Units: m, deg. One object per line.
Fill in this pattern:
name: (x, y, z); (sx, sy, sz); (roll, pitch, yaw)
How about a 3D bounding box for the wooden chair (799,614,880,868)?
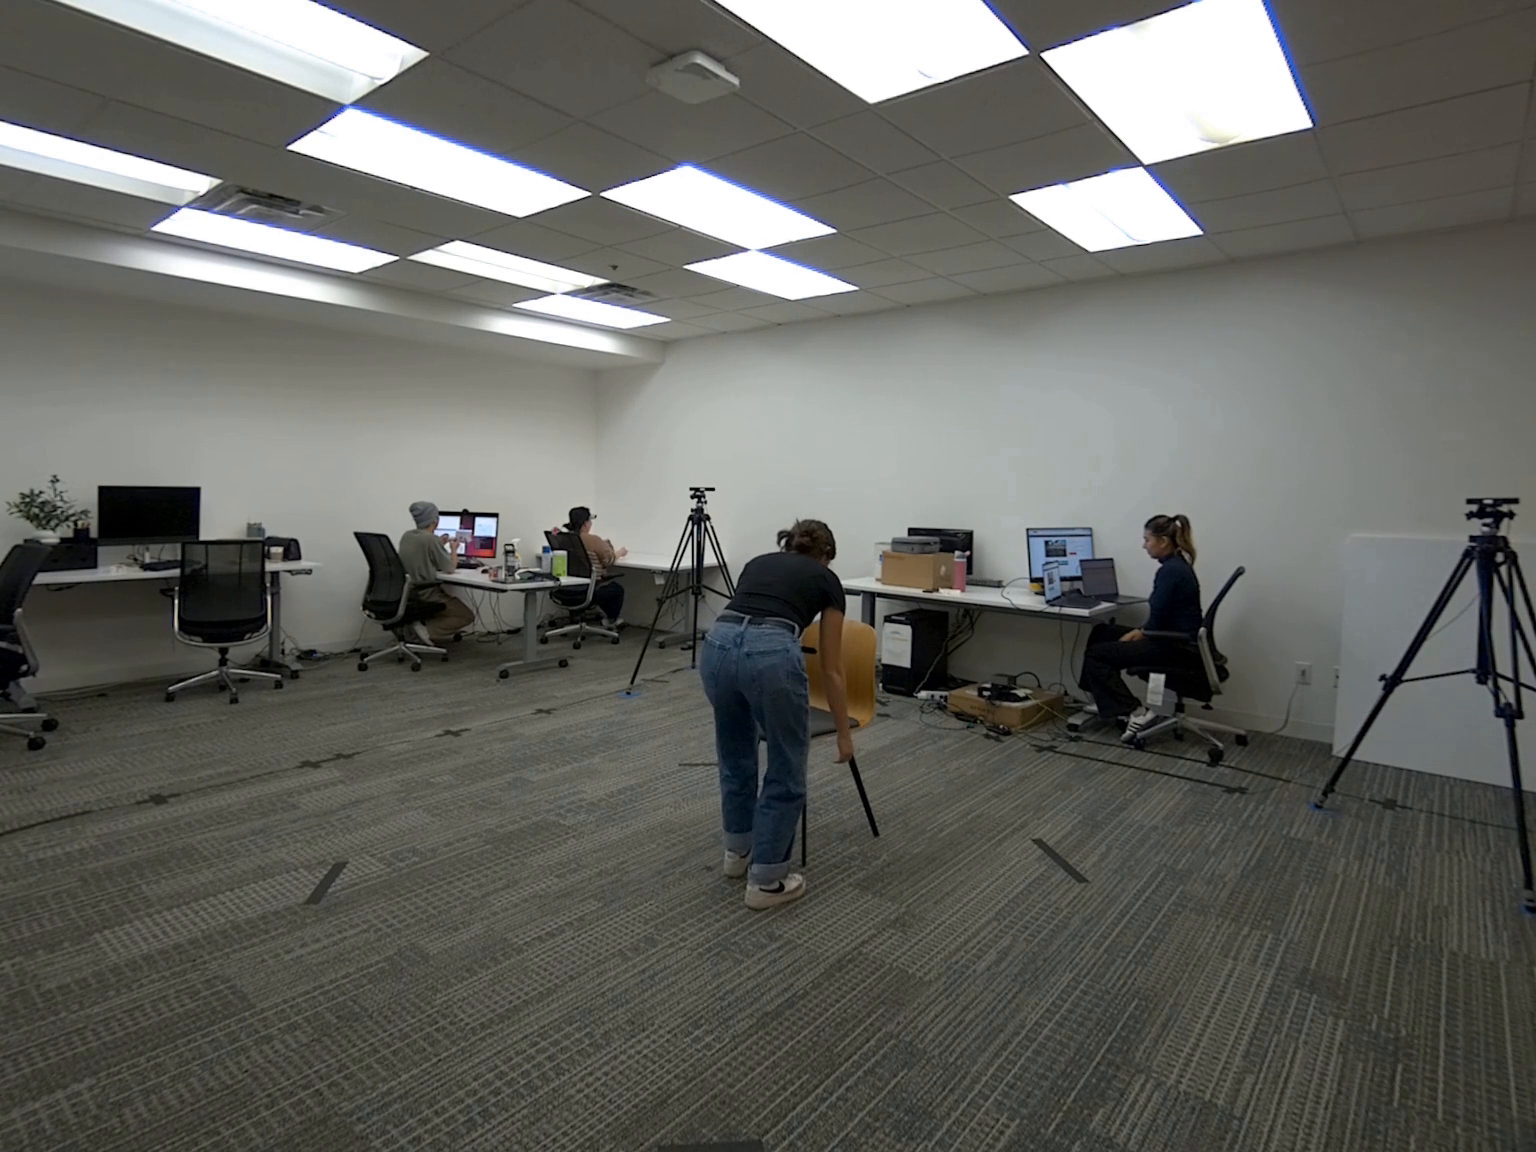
wooden chair: (0.129, 0.610, 3.419); (0.506, 0.877, 0.494); (3, 1, -43)
